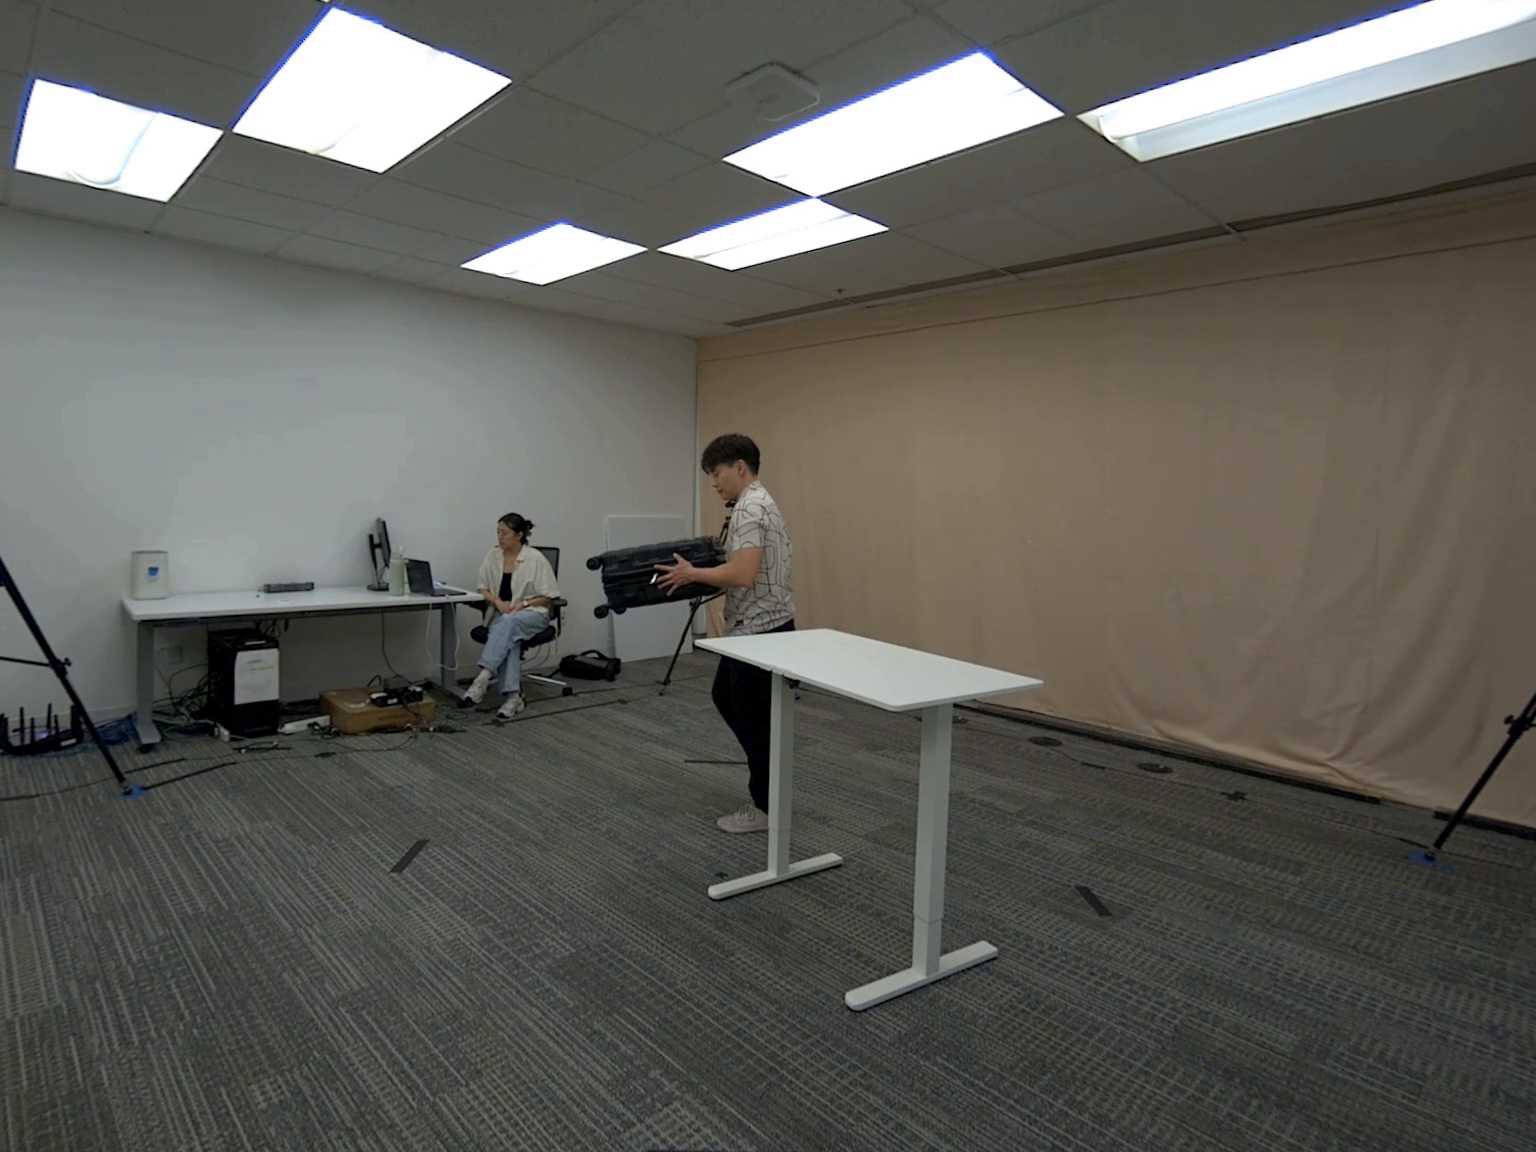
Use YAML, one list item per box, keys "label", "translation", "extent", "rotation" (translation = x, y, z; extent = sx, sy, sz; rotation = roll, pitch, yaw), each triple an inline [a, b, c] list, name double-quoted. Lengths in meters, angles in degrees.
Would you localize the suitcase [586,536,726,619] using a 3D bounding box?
- label: "suitcase"
  translation: [-0.462, -0.011, 3.608]
  extent: [0.551, 0.248, 0.374]
  rotation: [-9, 1, 6]
